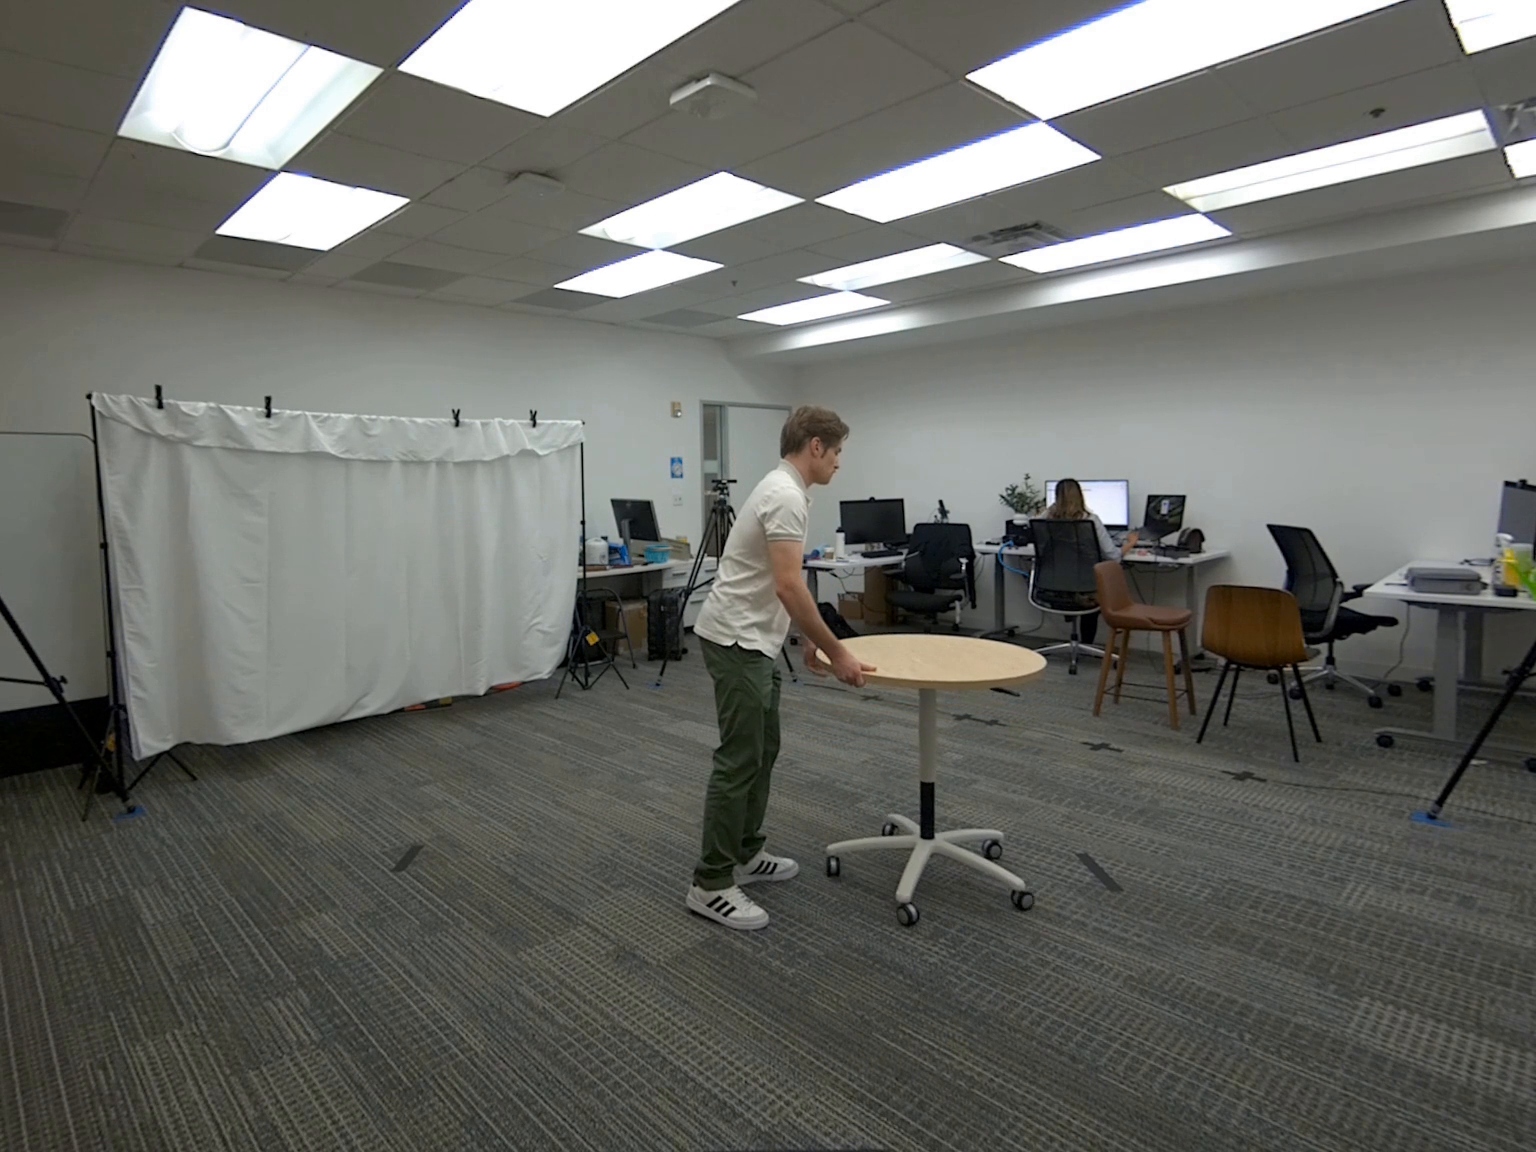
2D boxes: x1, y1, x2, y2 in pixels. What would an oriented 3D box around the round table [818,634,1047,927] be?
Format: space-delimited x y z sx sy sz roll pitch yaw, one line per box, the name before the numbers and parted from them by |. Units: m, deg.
round table | 0.557 0.663 2.965 0.763 0.791 0.768 -1 5 -2
